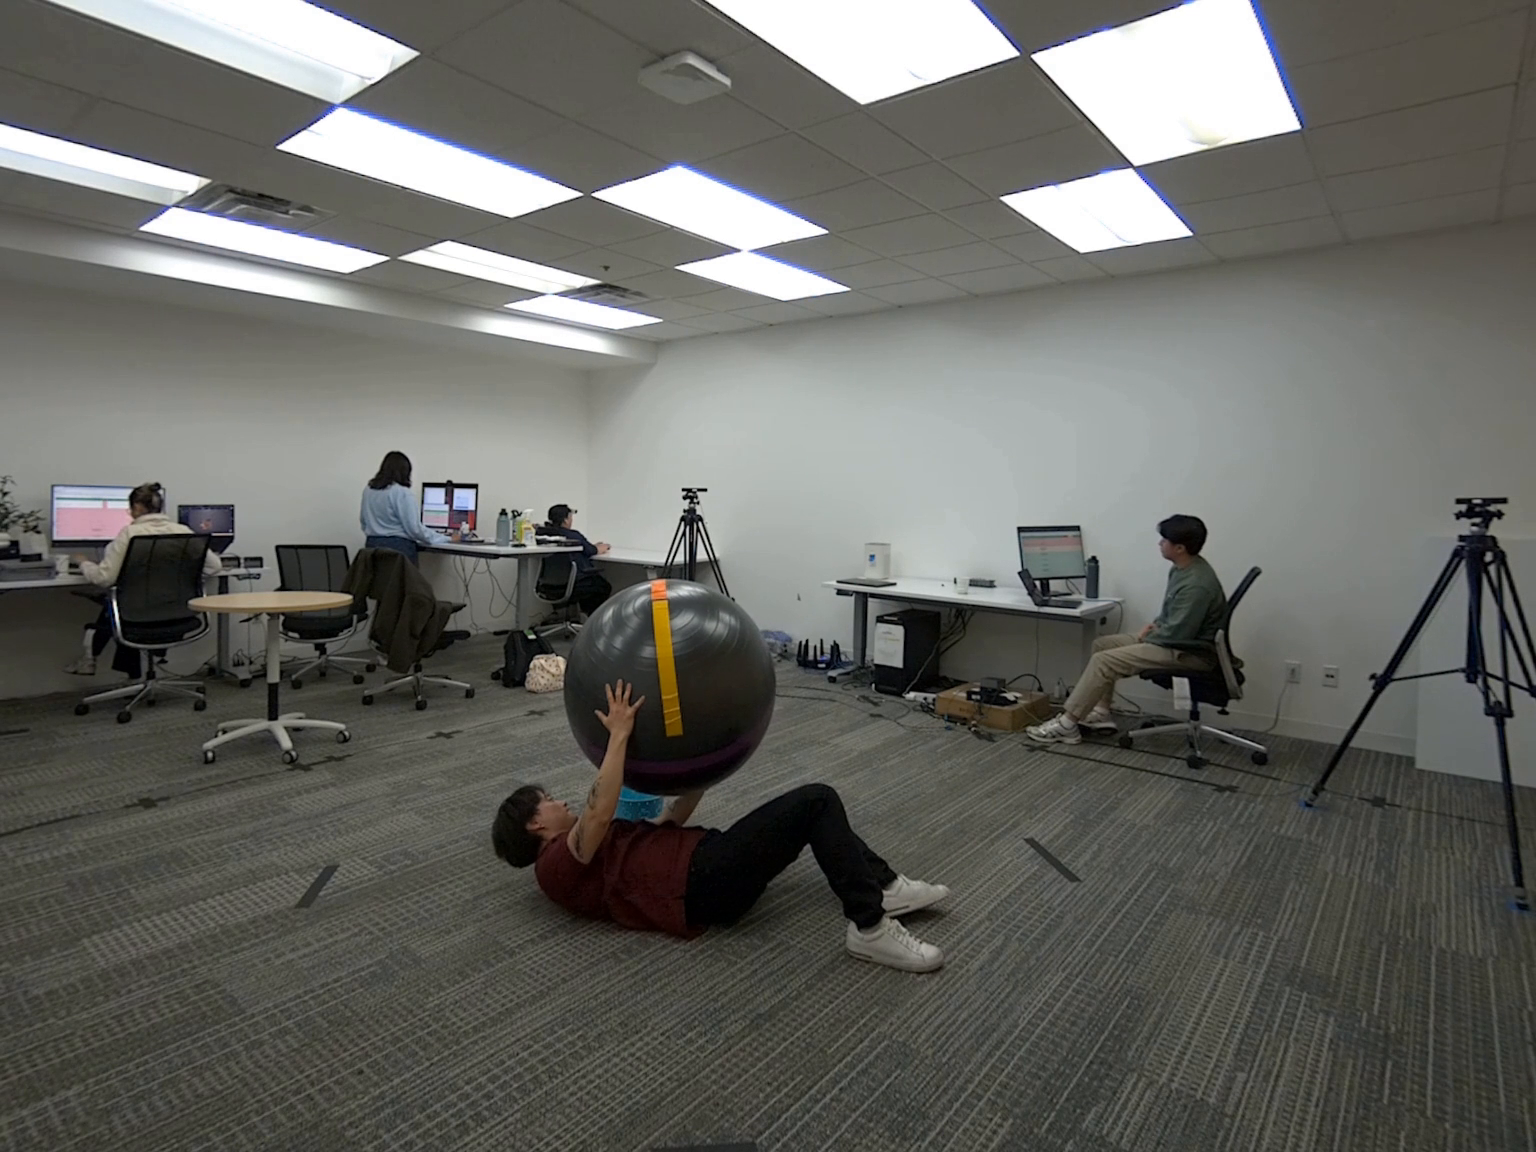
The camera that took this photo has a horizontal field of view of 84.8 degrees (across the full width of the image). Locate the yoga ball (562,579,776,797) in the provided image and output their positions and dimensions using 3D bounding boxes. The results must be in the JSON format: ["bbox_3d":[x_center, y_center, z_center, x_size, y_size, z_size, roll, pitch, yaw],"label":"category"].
[{"bbox_3d":[-0.349,0.389,3.045,0.757,0.755,0.762,1,4,-2],"label":"yoga ball"}]
